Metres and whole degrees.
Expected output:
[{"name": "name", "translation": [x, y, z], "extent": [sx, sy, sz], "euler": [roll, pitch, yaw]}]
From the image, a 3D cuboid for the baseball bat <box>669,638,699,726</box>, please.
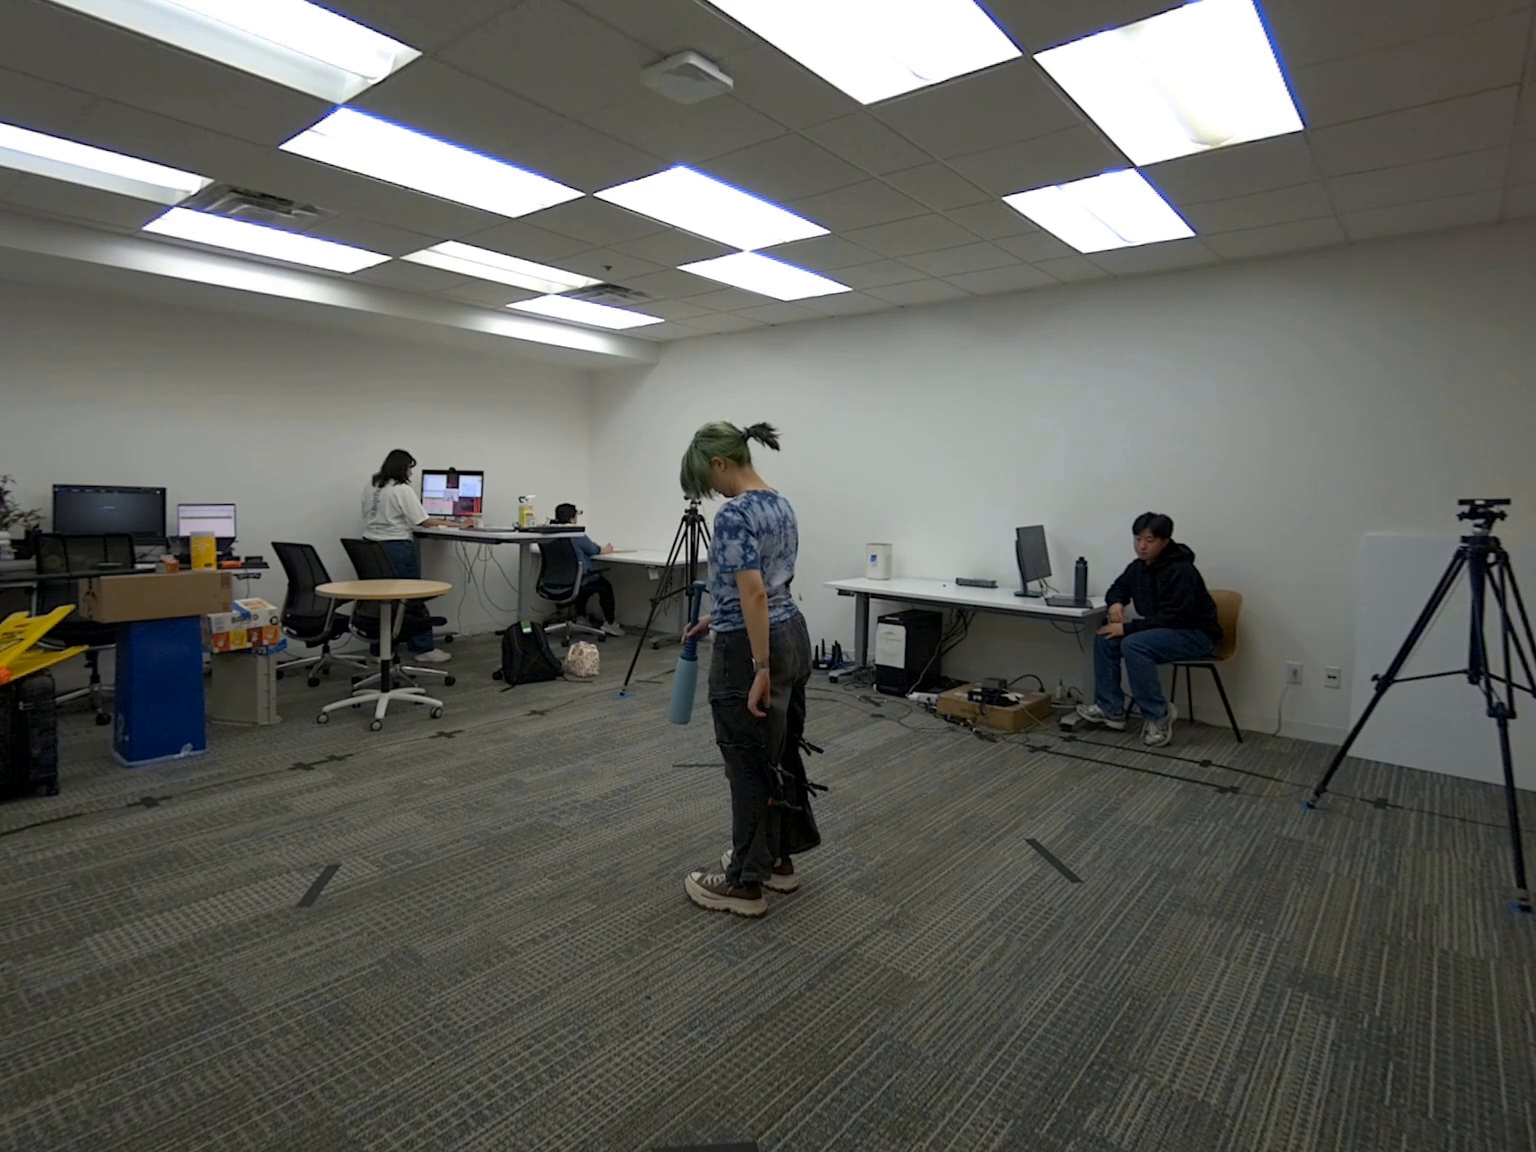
[{"name": "baseball bat", "translation": [-0.302, 0.285, 3.139], "extent": [0.089, 0.538, 0.090], "euler": [10, 11, -4]}]
